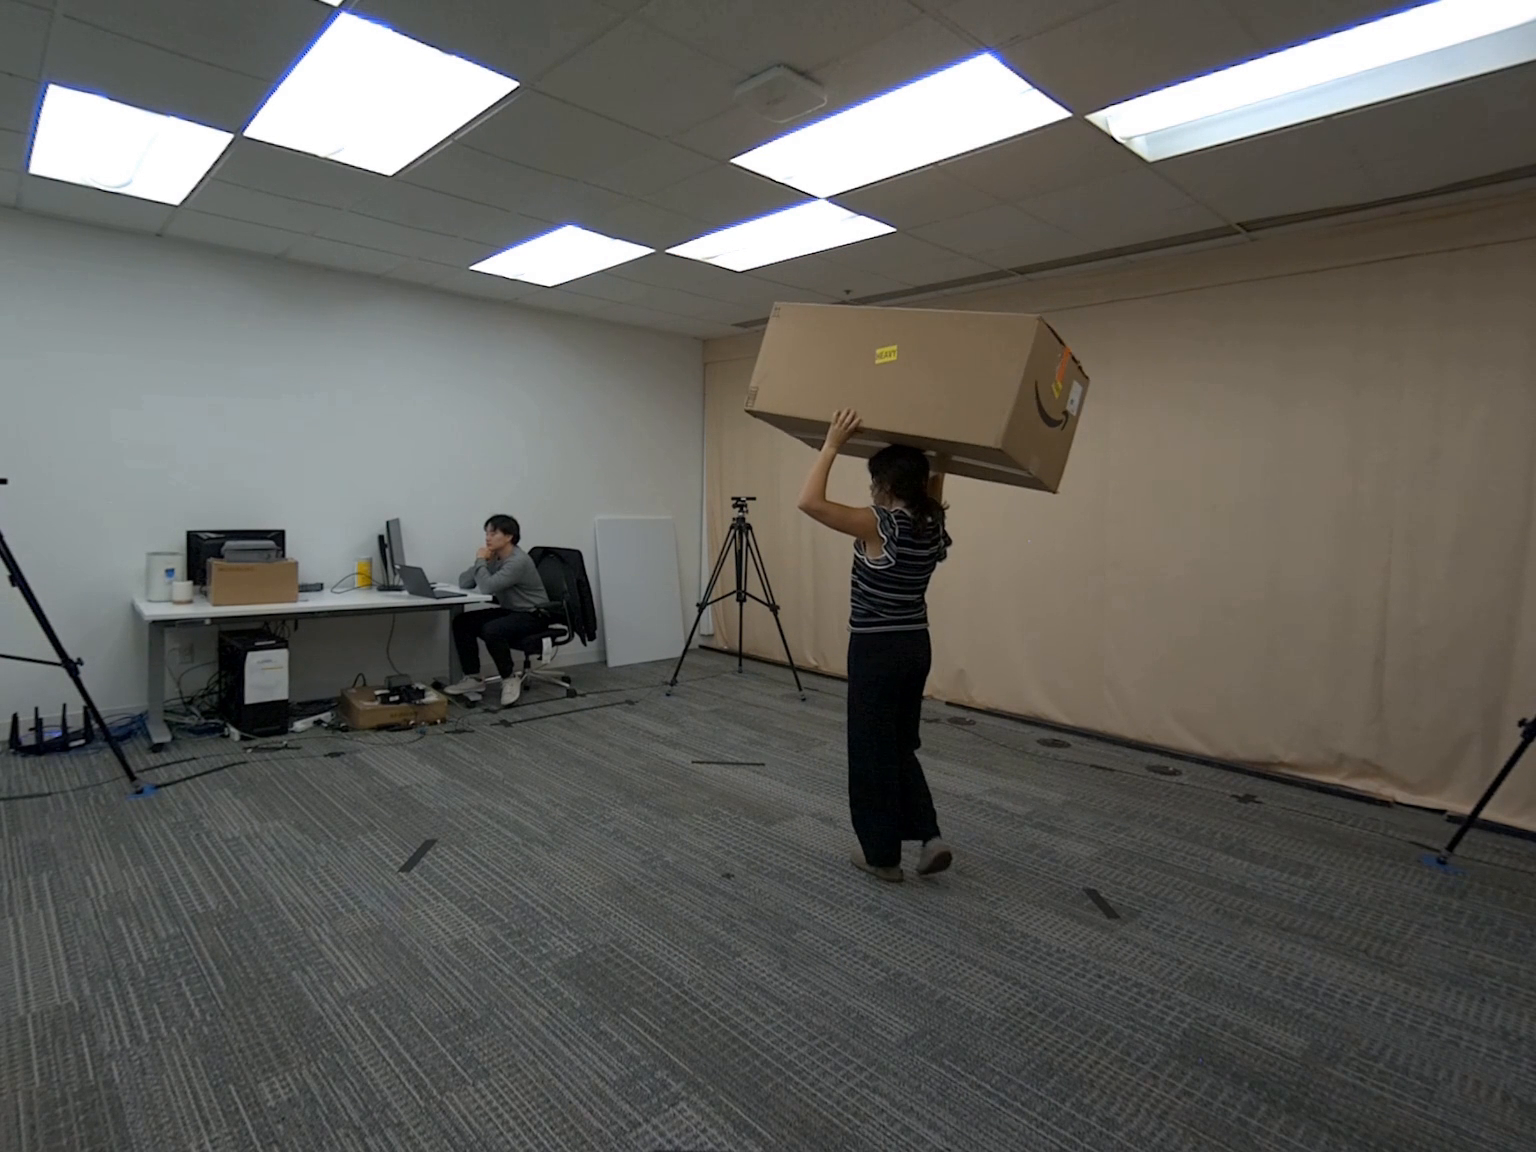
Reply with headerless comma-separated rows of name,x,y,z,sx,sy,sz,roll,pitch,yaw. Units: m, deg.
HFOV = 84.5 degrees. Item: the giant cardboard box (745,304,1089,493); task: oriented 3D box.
giant cardboard box,0.510,-0.650,3.044,1.055,0.426,0.561,17,0,38
